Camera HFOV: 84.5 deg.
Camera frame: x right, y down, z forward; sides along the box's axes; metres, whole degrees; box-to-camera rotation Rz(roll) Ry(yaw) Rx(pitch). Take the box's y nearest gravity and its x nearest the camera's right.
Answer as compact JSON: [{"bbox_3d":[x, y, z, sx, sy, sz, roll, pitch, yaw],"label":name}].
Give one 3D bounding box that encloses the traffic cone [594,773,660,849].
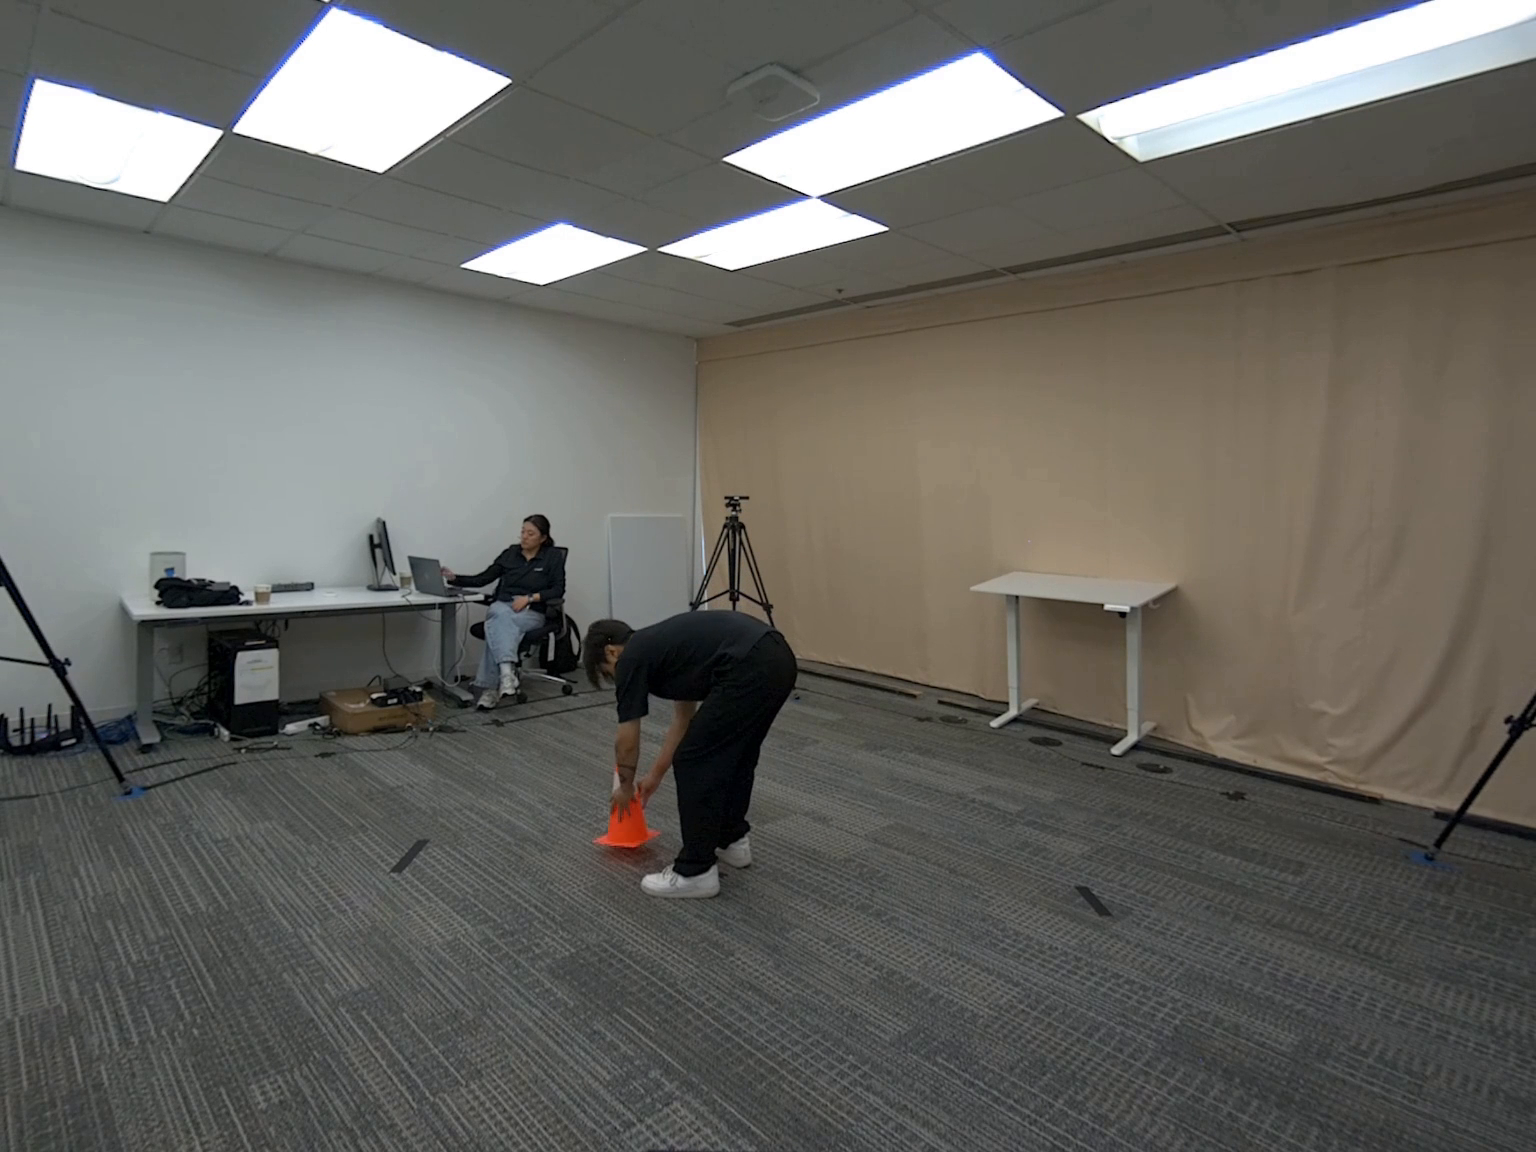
[{"bbox_3d":[-0.562,0.827,3.284,0.209,0.385,0.199,-6,-4,29],"label":"traffic cone"}]
